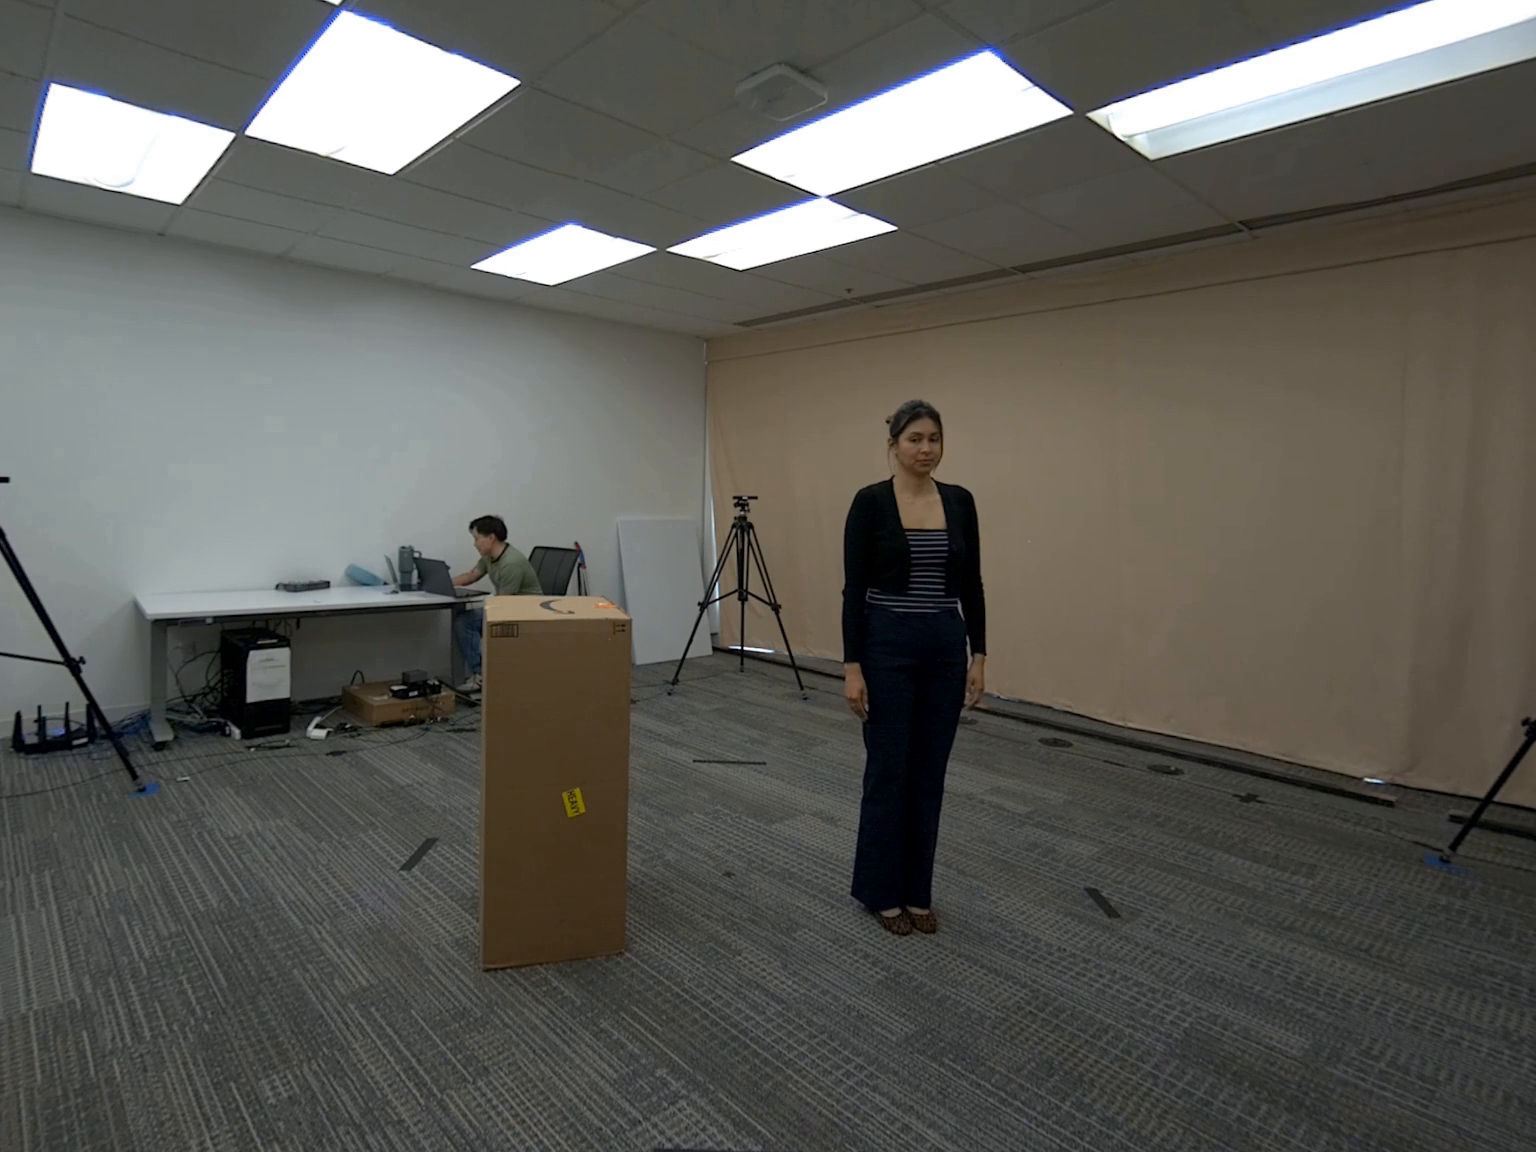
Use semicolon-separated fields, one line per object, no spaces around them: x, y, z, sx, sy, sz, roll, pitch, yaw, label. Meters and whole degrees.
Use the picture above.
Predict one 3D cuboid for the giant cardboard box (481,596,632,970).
-0.713;0.613;2.742;0.420;1.023;0.587;0;3;-19;giant cardboard box
